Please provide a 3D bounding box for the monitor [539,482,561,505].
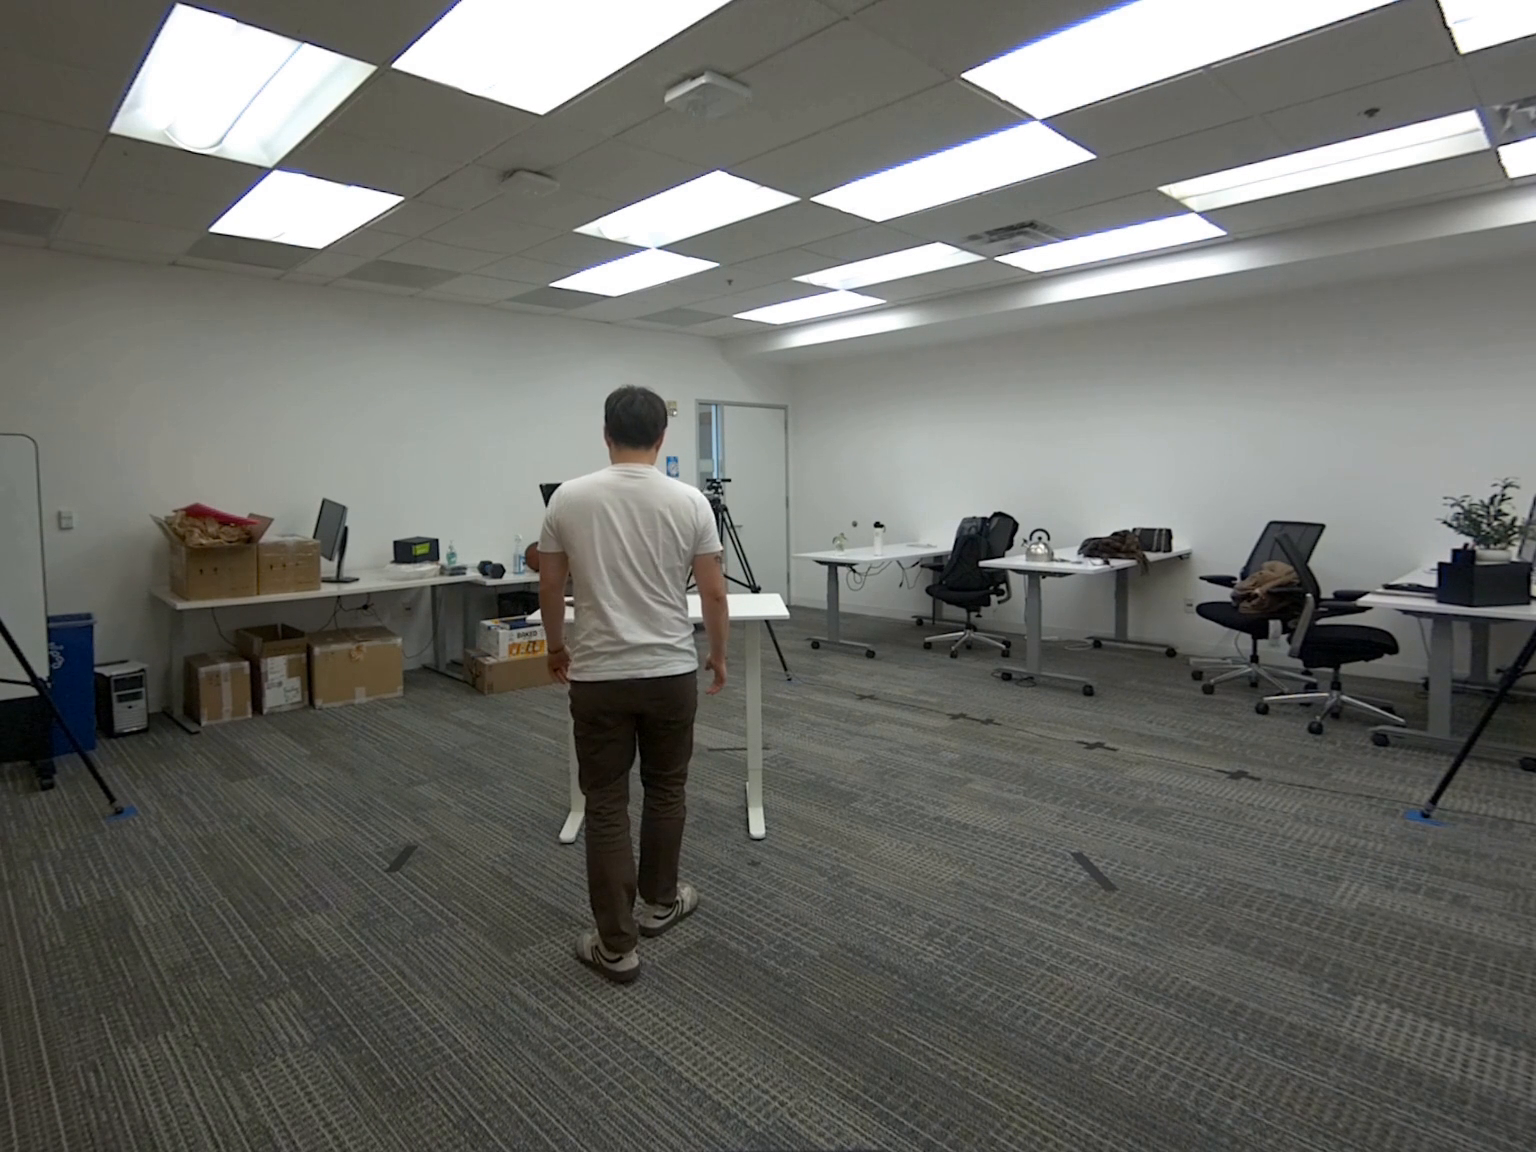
[{"bbox_3d":[-0.727,-0.126,3.544,0.553,0.519,0.184,2,9,30],"label":"monitor"}]
